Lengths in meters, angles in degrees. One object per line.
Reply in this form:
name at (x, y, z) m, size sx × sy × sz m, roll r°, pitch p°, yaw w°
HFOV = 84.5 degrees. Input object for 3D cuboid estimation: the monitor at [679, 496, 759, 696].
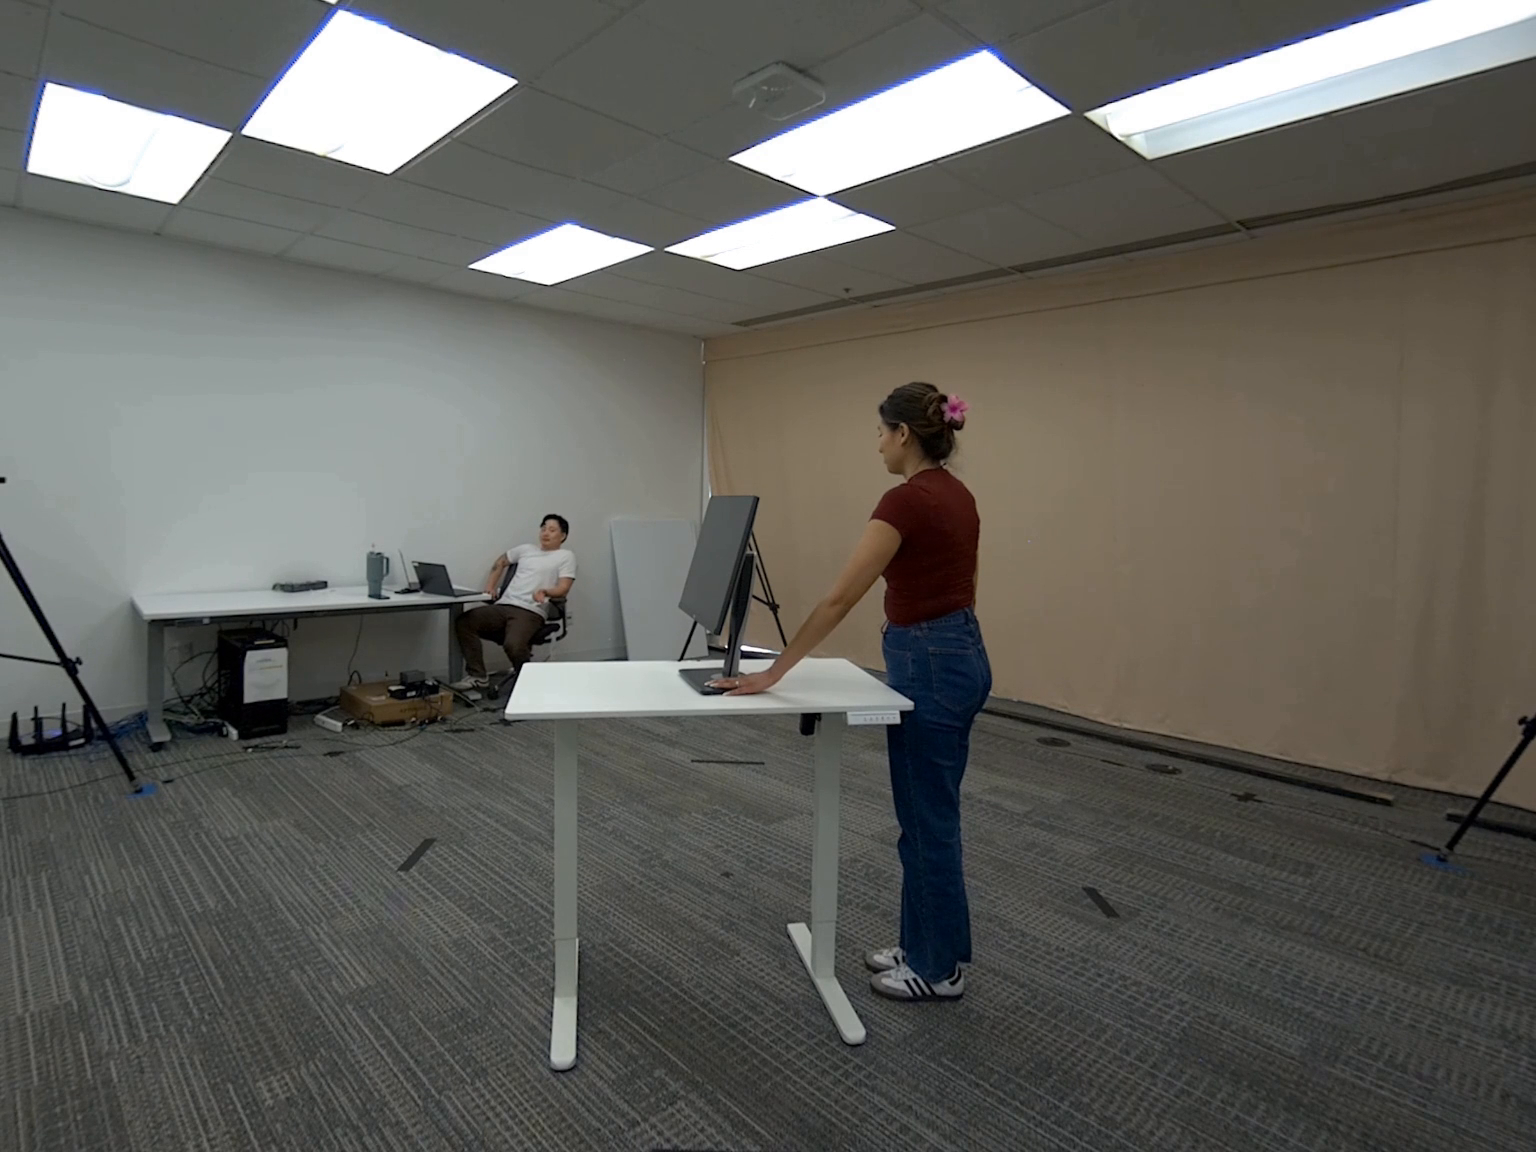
monitor at (-0.119, 0.040, 2.298) m, size 0.184 × 0.522 × 0.547 m, roll 3°, pitch 2°, yaw -17°
